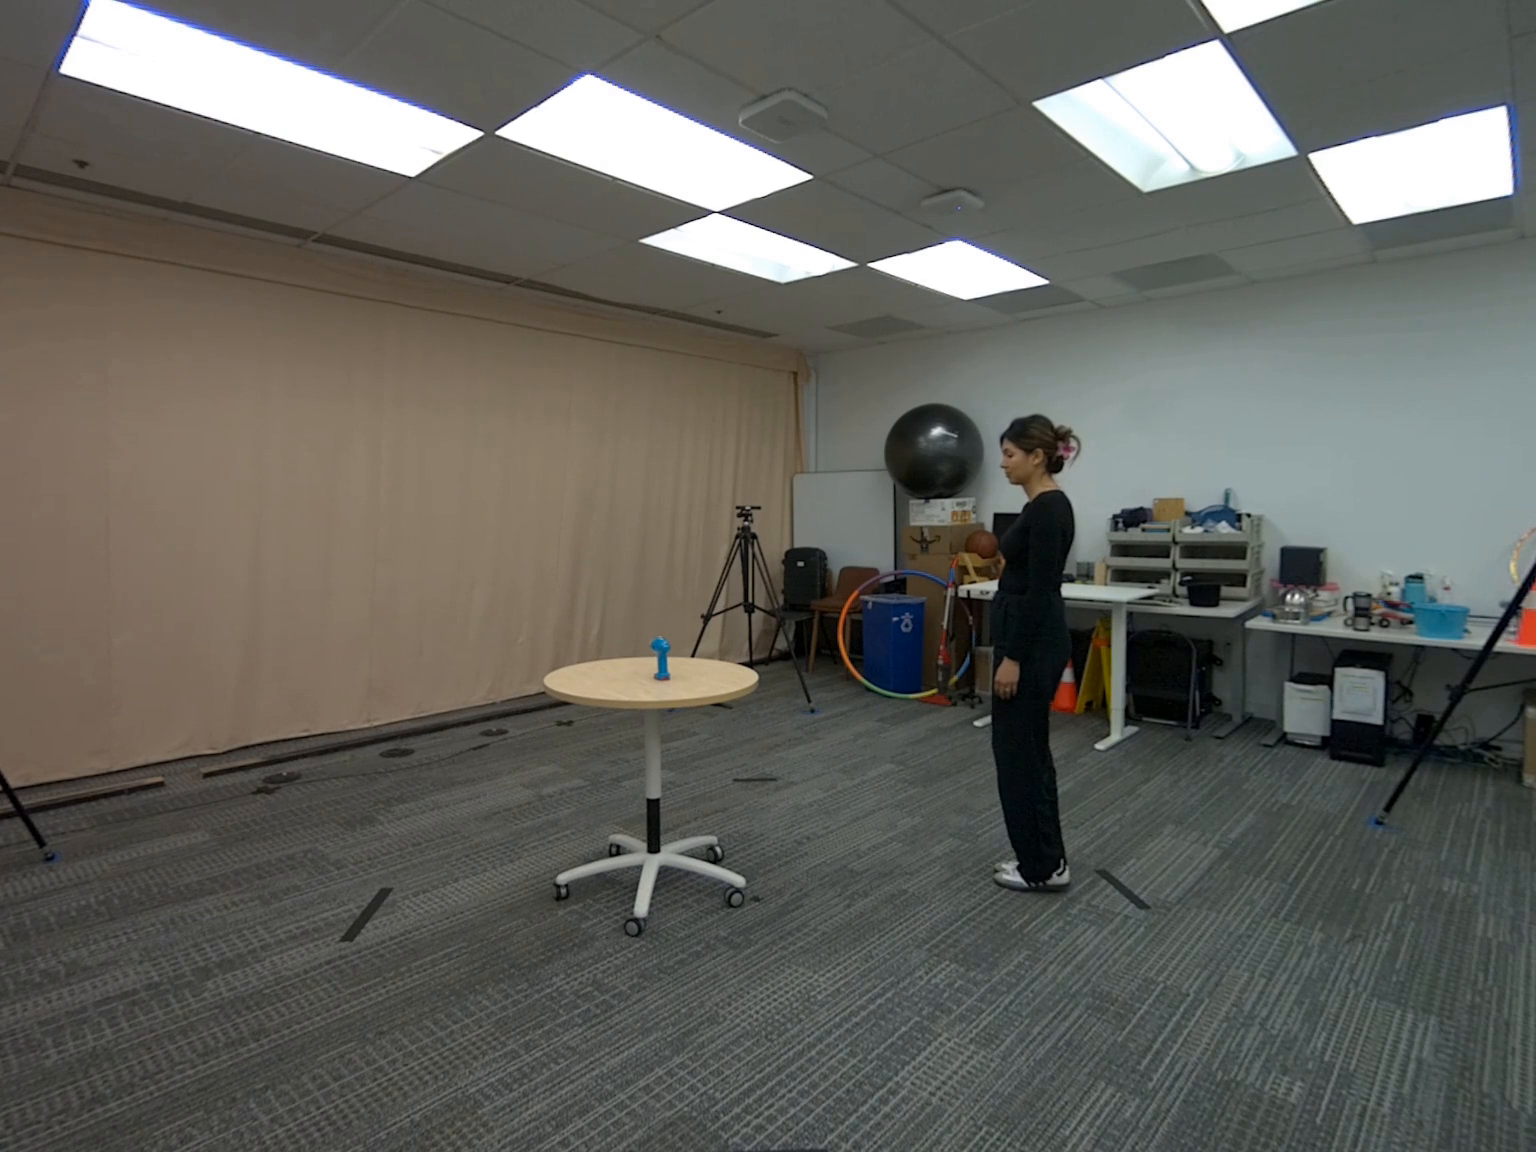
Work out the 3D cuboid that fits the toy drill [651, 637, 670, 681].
[{"bbox_3d":[-0.391,0.292,3.018,0.060,0.146,0.174,0,3,-26],"label":"toy drill"}]
